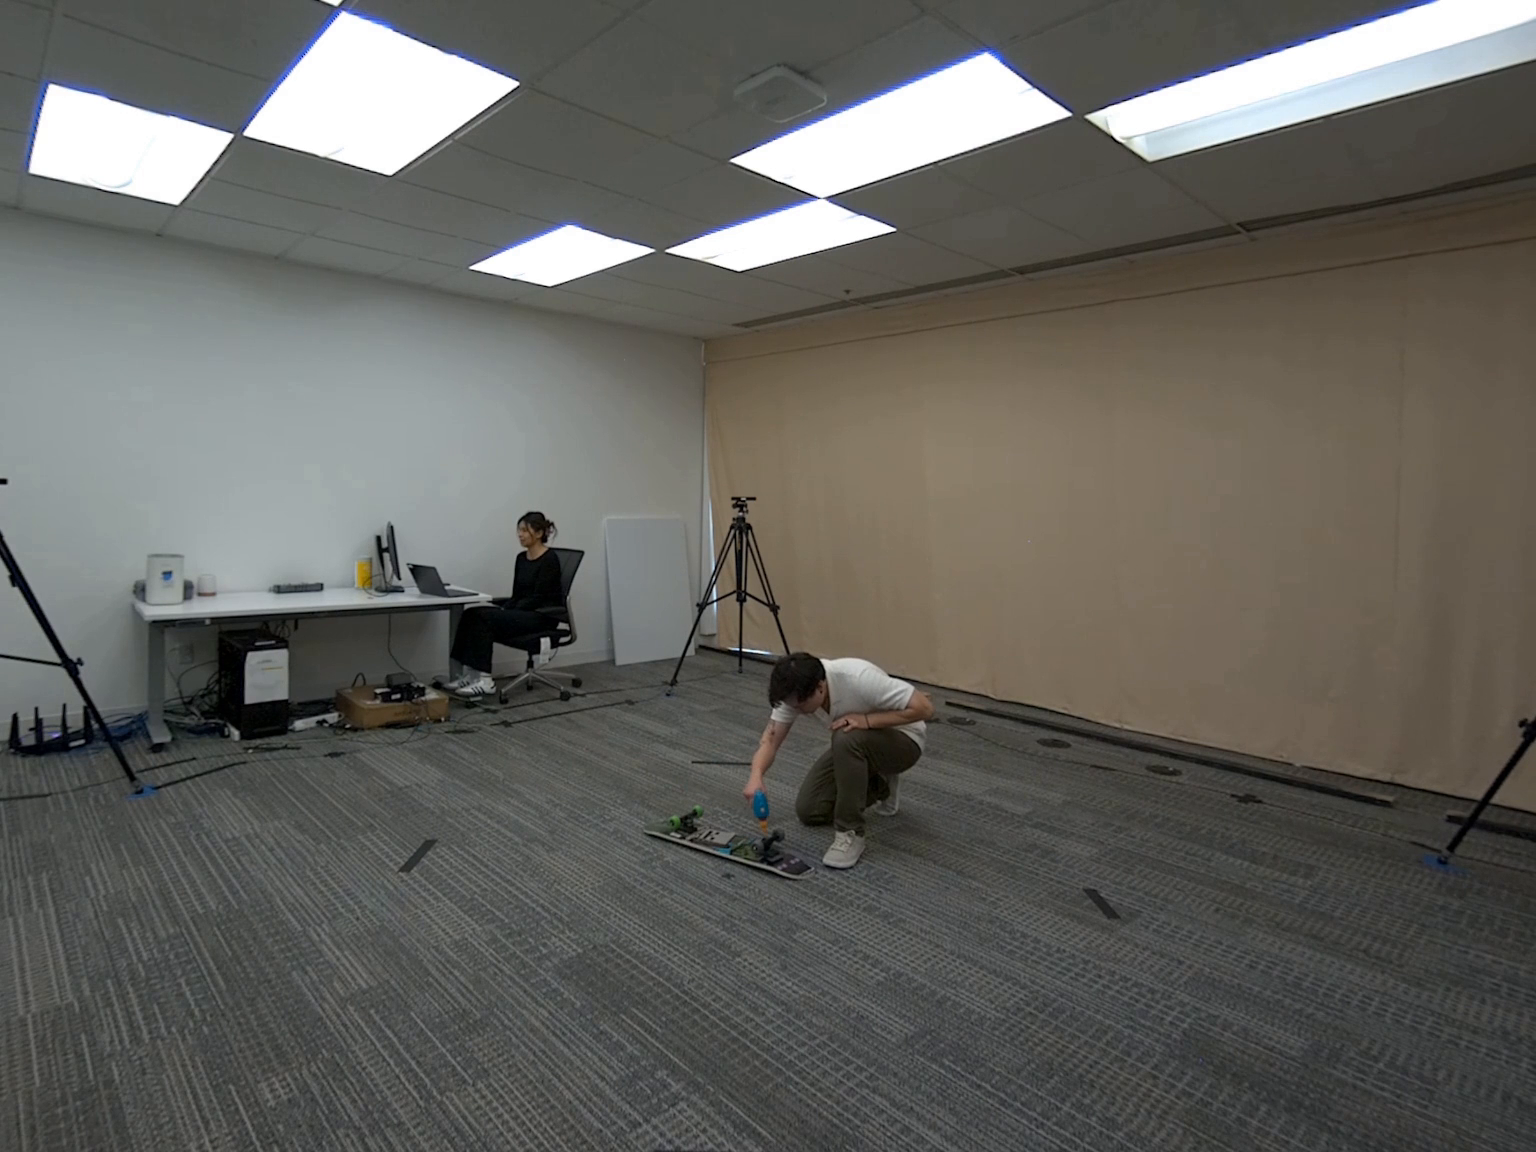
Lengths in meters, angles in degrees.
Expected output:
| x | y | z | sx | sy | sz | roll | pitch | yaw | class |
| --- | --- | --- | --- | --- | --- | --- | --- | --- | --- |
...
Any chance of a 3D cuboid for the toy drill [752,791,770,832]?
| x | y | z | sx | sy | sz | roll | pitch | yaw | class |
| --- | --- | --- | --- | --- | --- | --- | --- | --- | --- |
| -0.047 | 0.908 | 3.275 | 0.061 | 0.169 | 0.147 | -16 | 5 | -3 | toy drill |
